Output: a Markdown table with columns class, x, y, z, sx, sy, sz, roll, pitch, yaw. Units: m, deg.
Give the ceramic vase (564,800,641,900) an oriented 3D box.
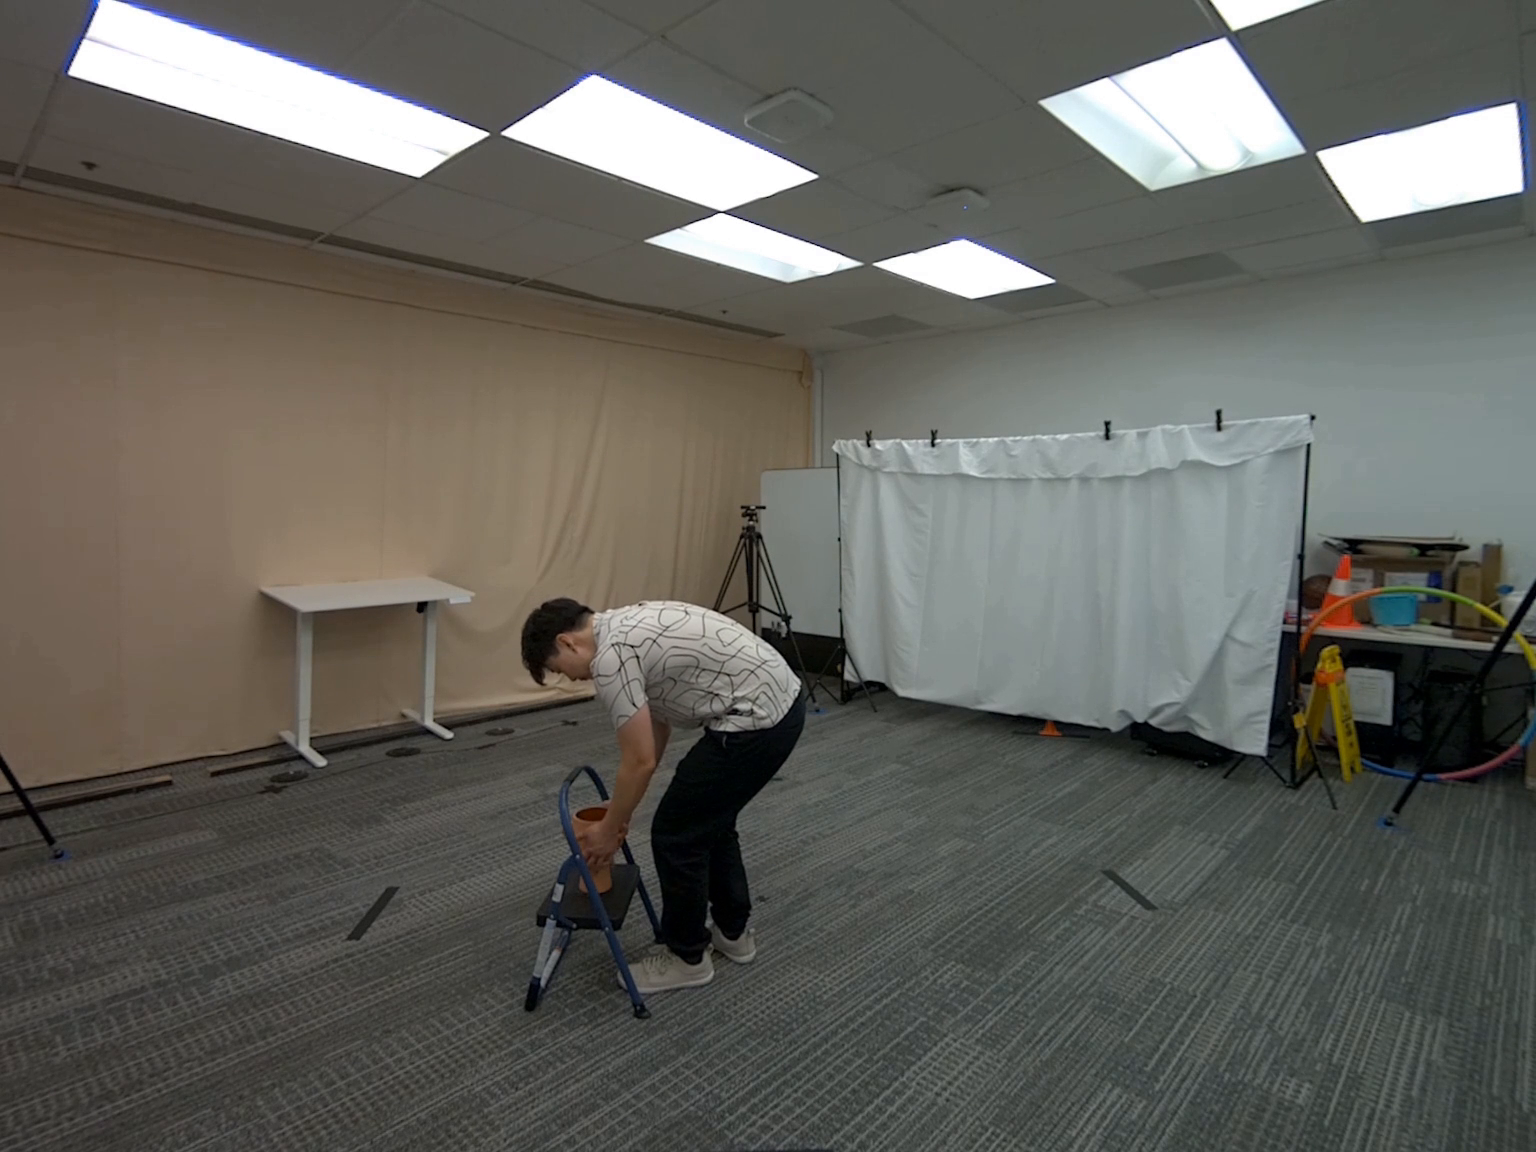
| class | x | y | z | sx | sy | sz | roll | pitch | yaw |
| --- | --- | --- | --- | --- | --- | --- | --- | --- | --- |
| ceramic vase | -0.492 | 0.804 | 2.508 | 0.164 | 0.219 | 0.131 | -2 | 3 | 38 |
